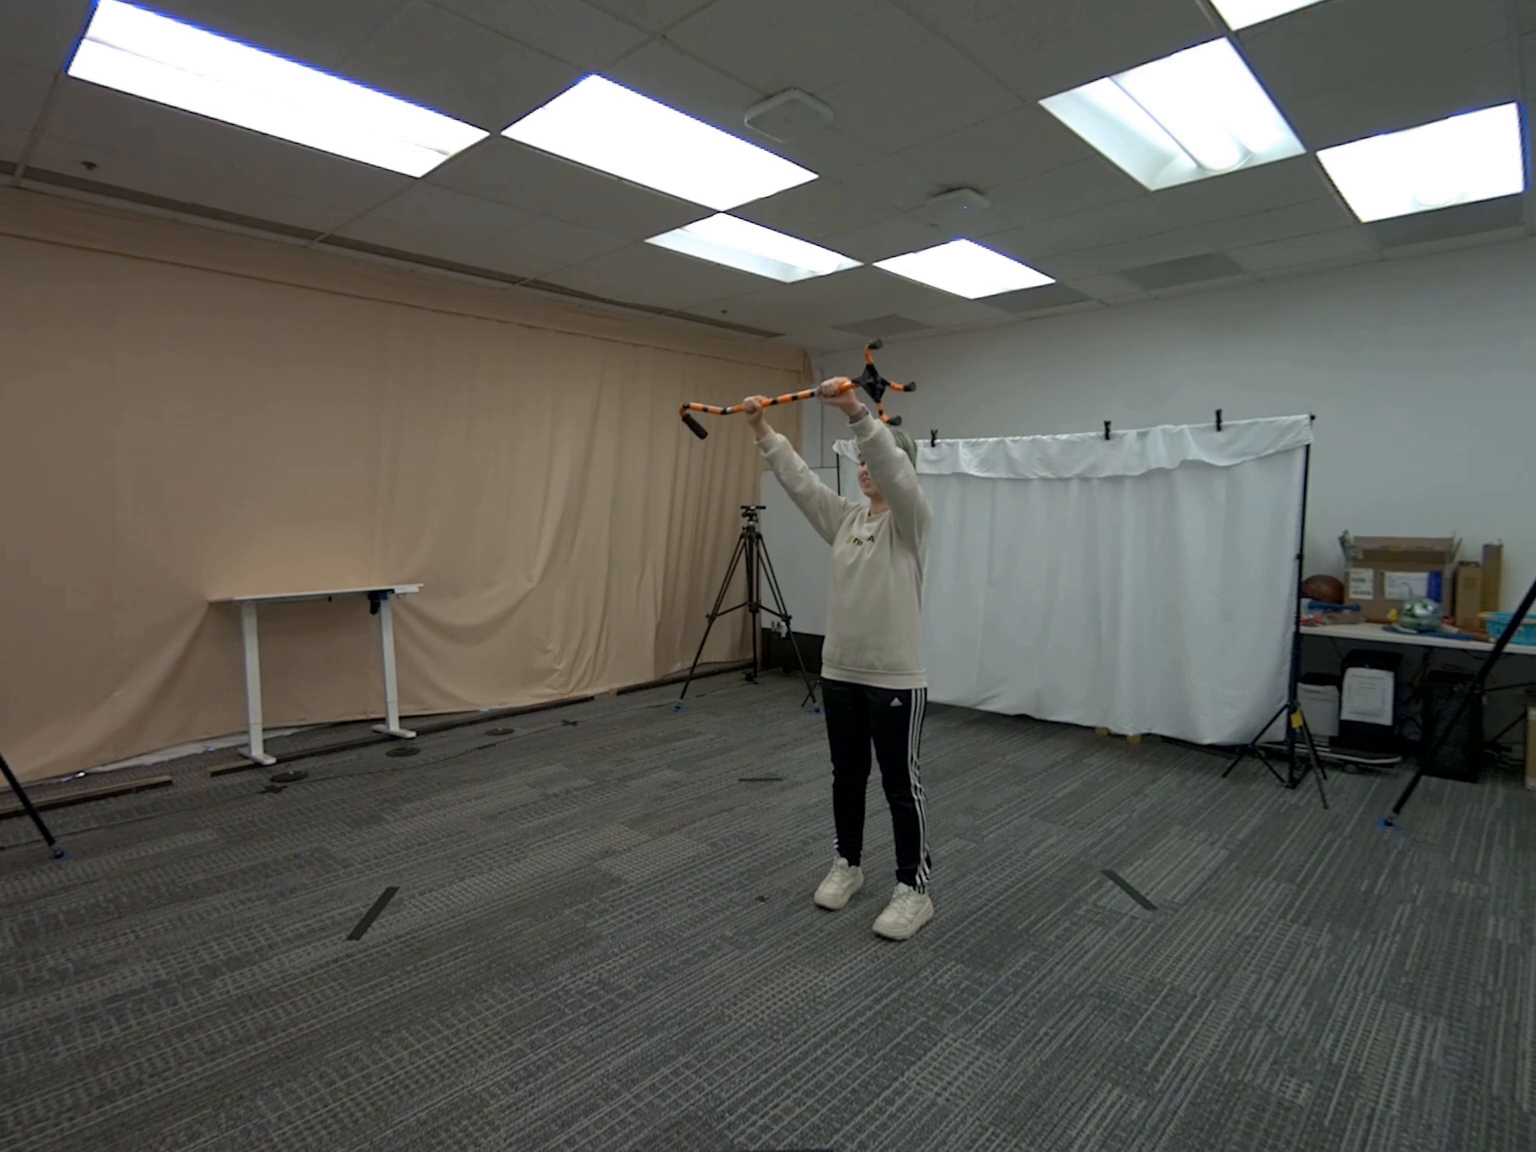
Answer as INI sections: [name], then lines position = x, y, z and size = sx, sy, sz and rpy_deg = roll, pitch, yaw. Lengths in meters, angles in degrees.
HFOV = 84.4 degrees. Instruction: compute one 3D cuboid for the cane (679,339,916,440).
[cane]
position = 0.019, -0.528, 2.631
size = 0.937, 0.152, 0.200
rpy_deg = 1, -32, 48
